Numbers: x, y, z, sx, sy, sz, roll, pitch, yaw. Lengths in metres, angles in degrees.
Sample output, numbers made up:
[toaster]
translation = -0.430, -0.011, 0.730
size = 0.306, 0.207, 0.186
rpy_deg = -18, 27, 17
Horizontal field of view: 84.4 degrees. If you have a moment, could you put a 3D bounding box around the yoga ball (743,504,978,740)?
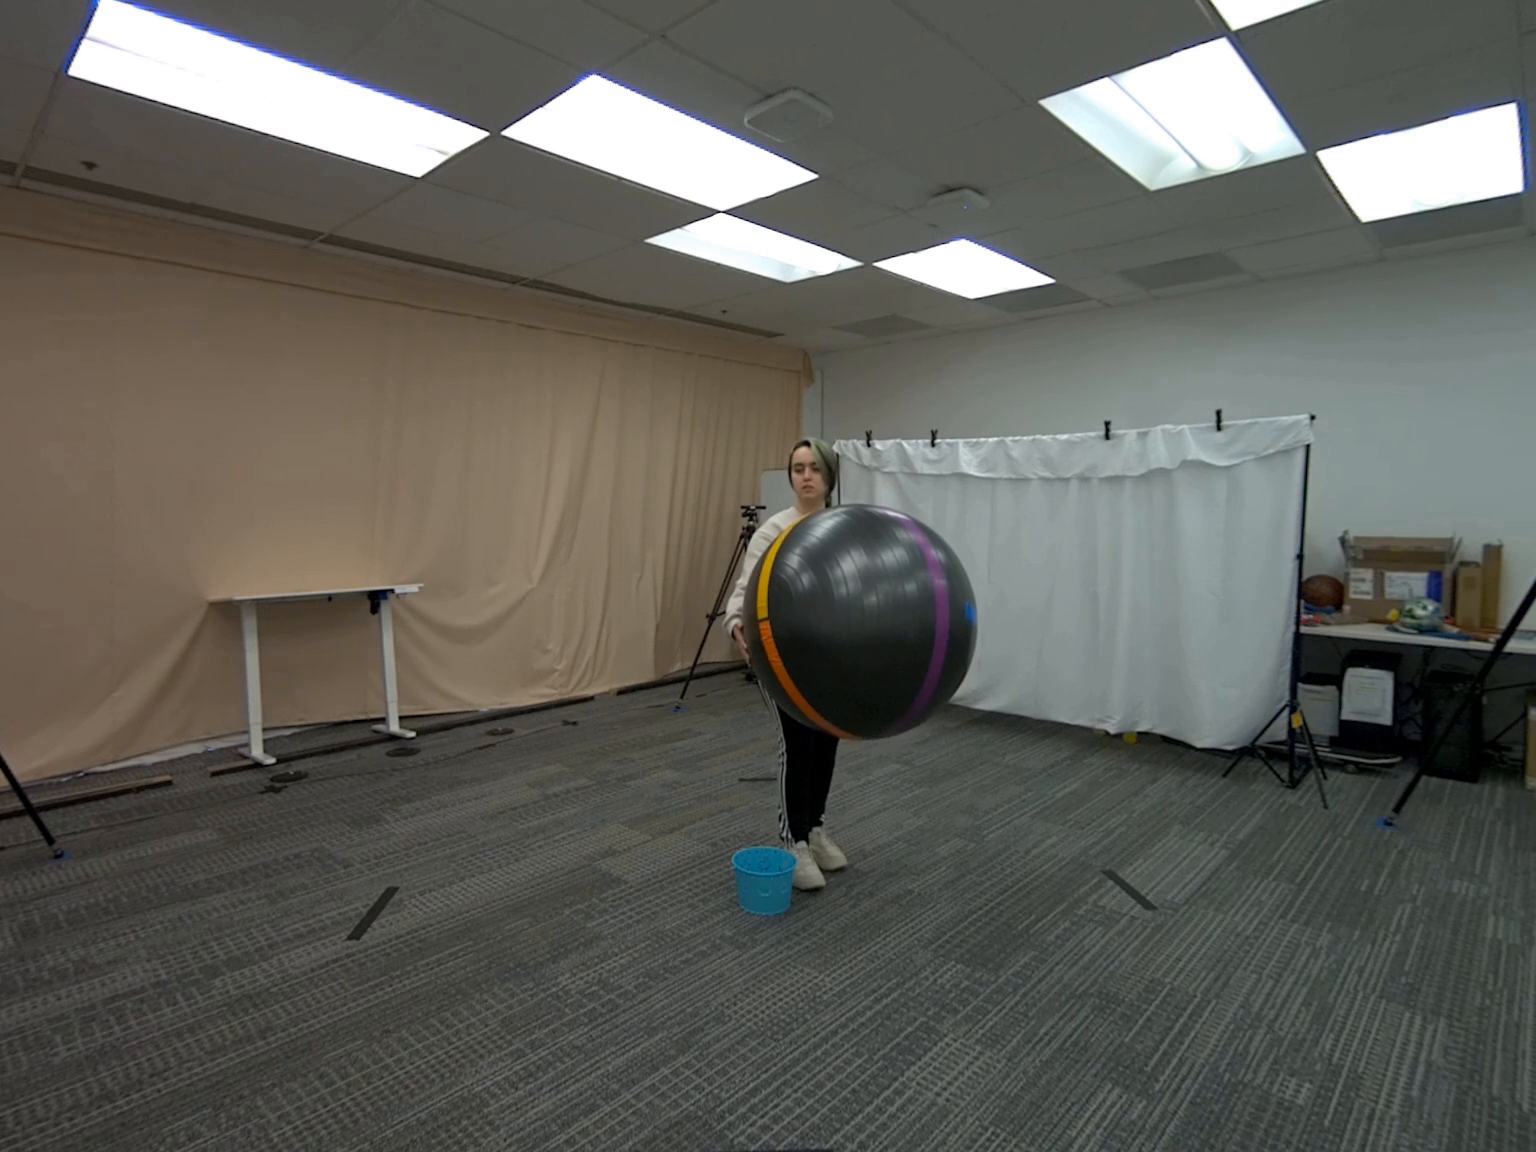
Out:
[yoga ball]
translation = 0.297, 0.155, 2.741
size = 0.757, 0.756, 0.760
rpy_deg = 0, 4, -2
